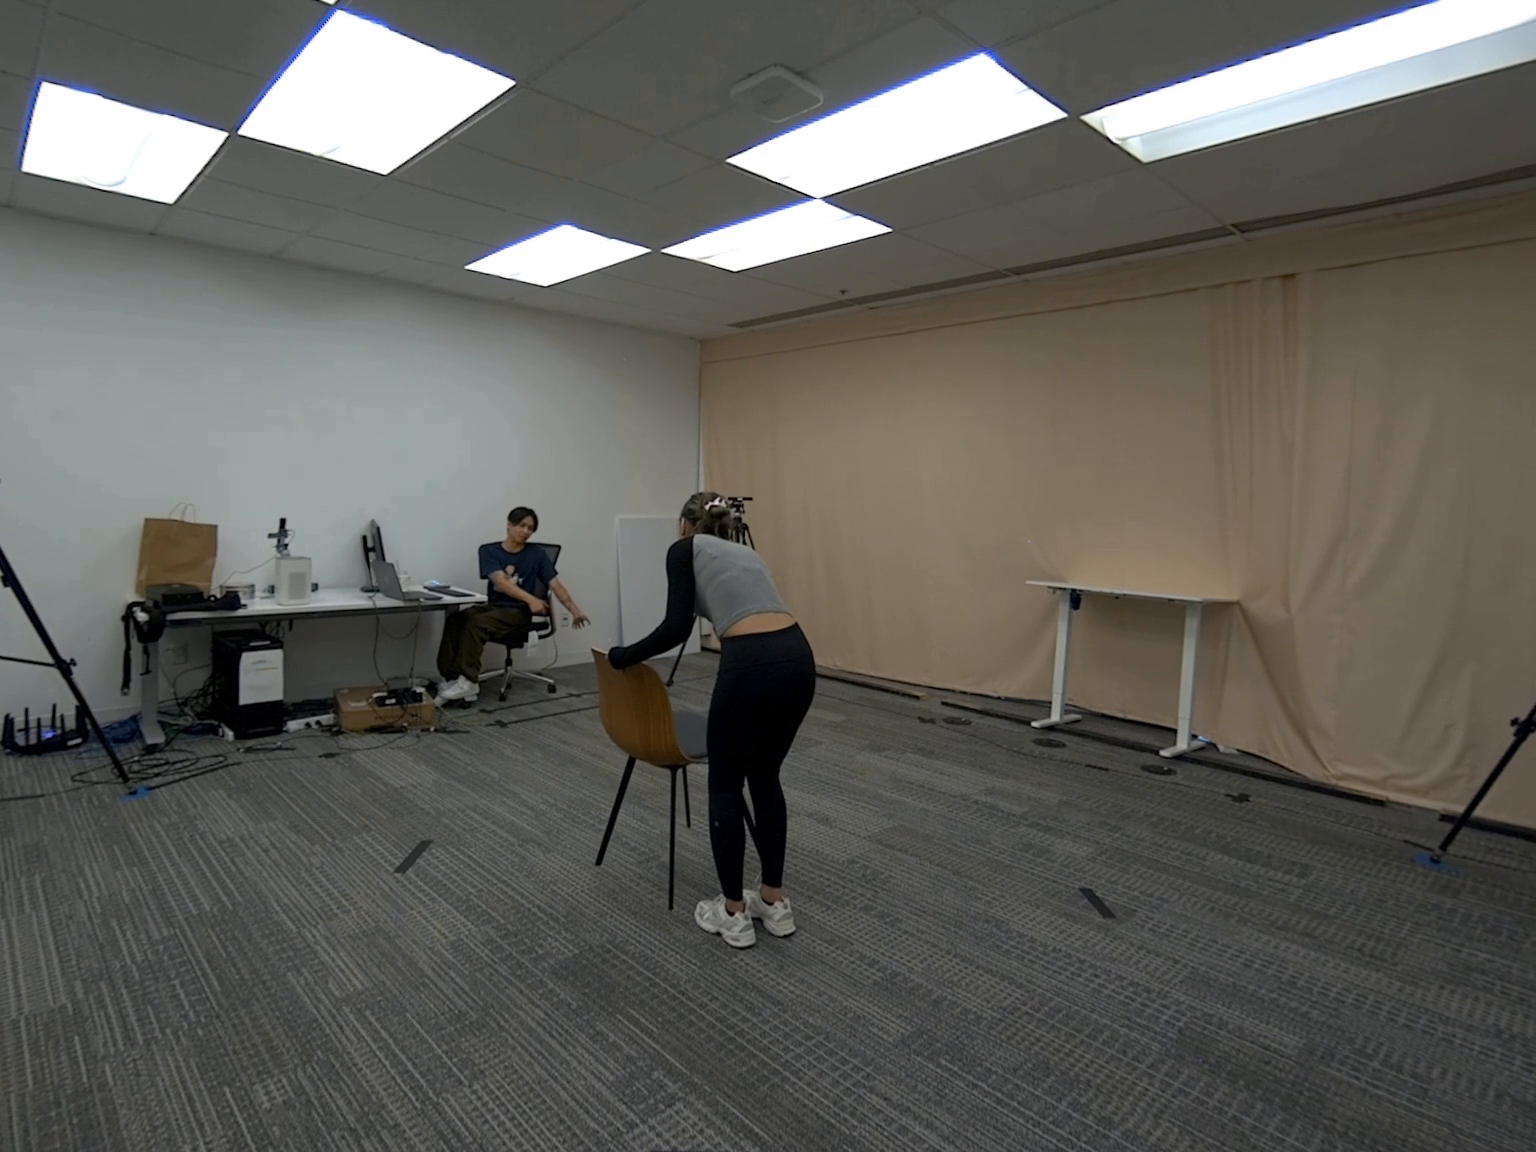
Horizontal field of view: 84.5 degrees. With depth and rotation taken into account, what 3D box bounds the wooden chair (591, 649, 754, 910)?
[{"bbox_3d":[-0.334,0.633,3.043,0.514,0.871,0.490,-14,13,-42],"label":"wooden chair"}]
